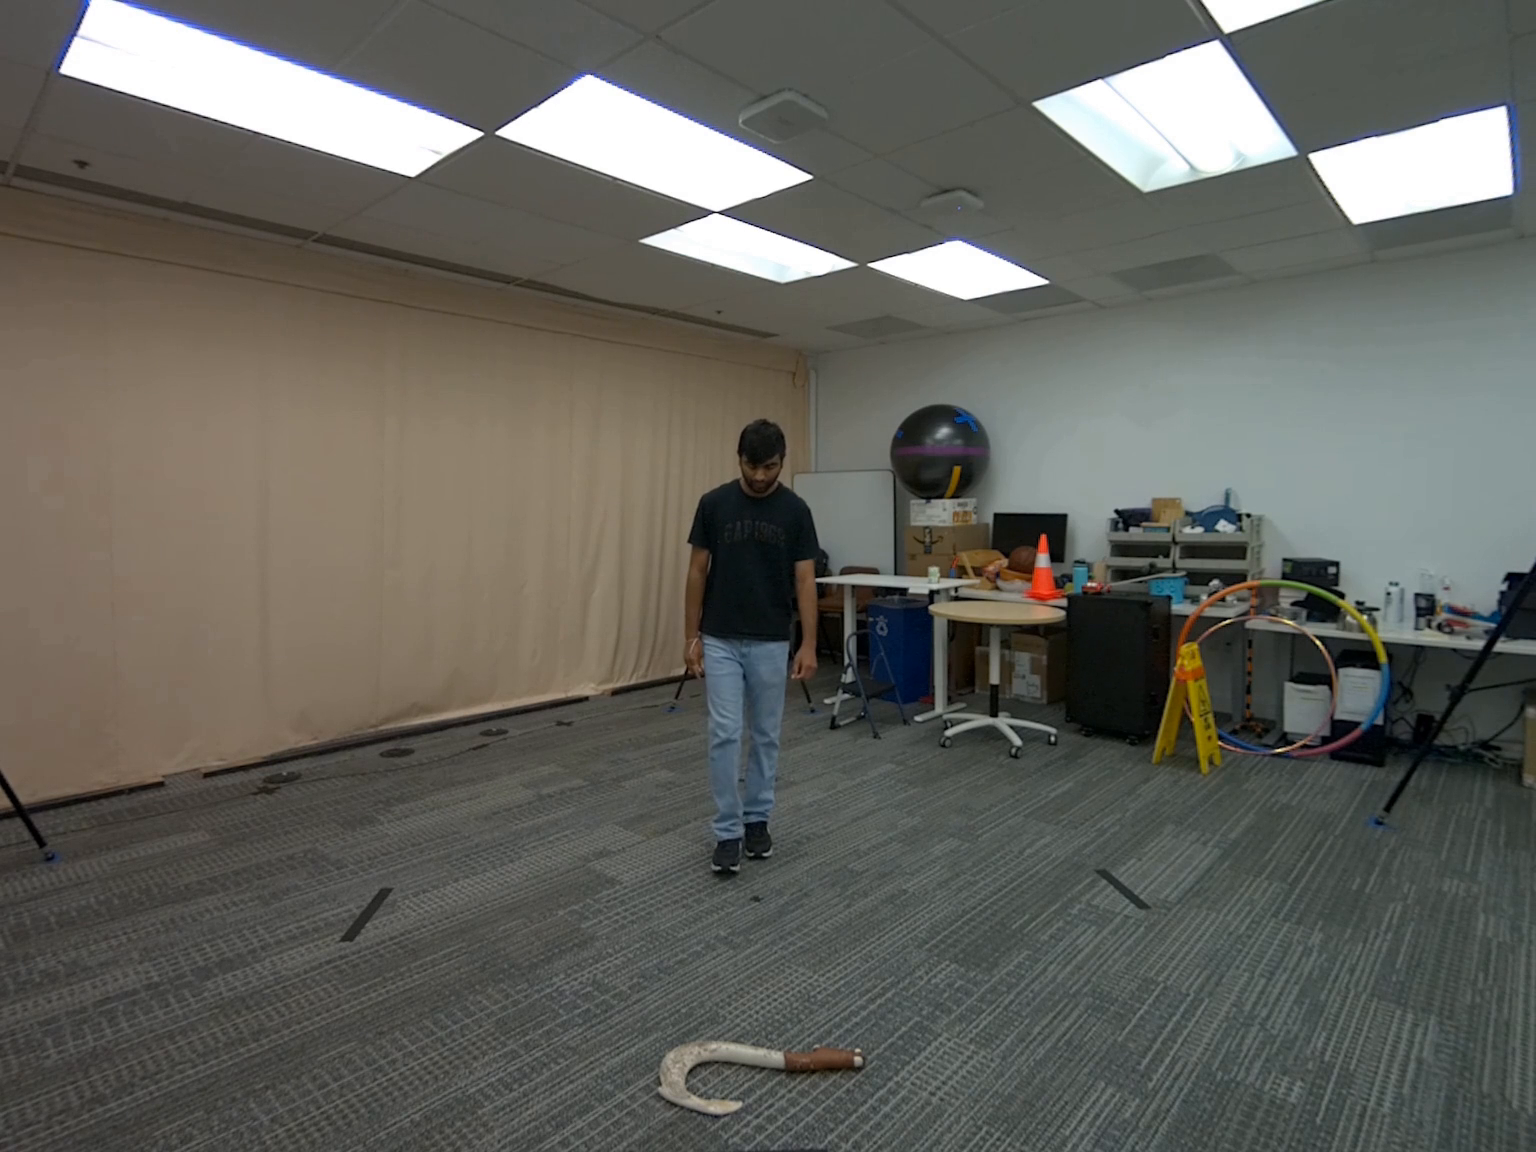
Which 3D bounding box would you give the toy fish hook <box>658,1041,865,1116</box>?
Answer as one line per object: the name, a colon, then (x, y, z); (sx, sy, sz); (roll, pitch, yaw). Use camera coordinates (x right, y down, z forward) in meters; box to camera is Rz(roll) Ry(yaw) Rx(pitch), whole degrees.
toy fish hook: (-0.001, 1.207, 2.034); (0.506, 0.048, 0.226); (-1, 13, -1)
